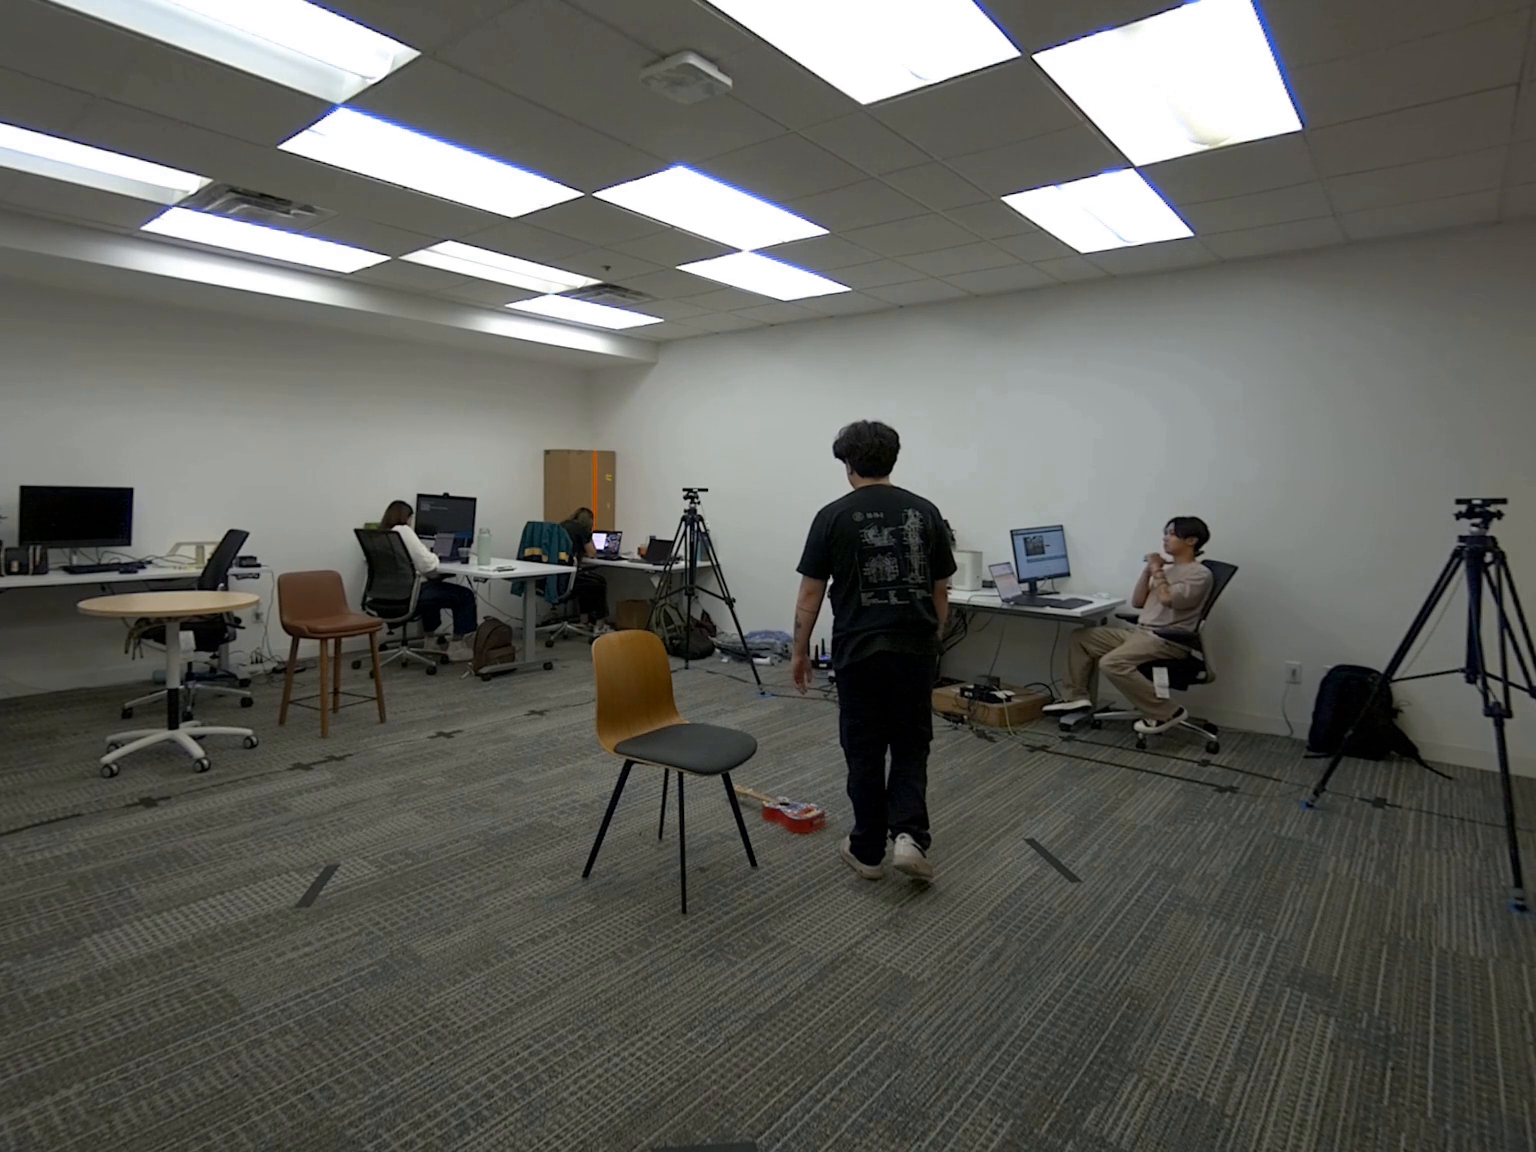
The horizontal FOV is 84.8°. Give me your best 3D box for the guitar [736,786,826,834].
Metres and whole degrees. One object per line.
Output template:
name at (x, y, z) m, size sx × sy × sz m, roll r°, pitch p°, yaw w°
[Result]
guitar at (0.024, 0.984, 3.686) m, size 0.187 × 0.070 × 0.515 m, roll -4°, pitch 8°, yaw -40°
